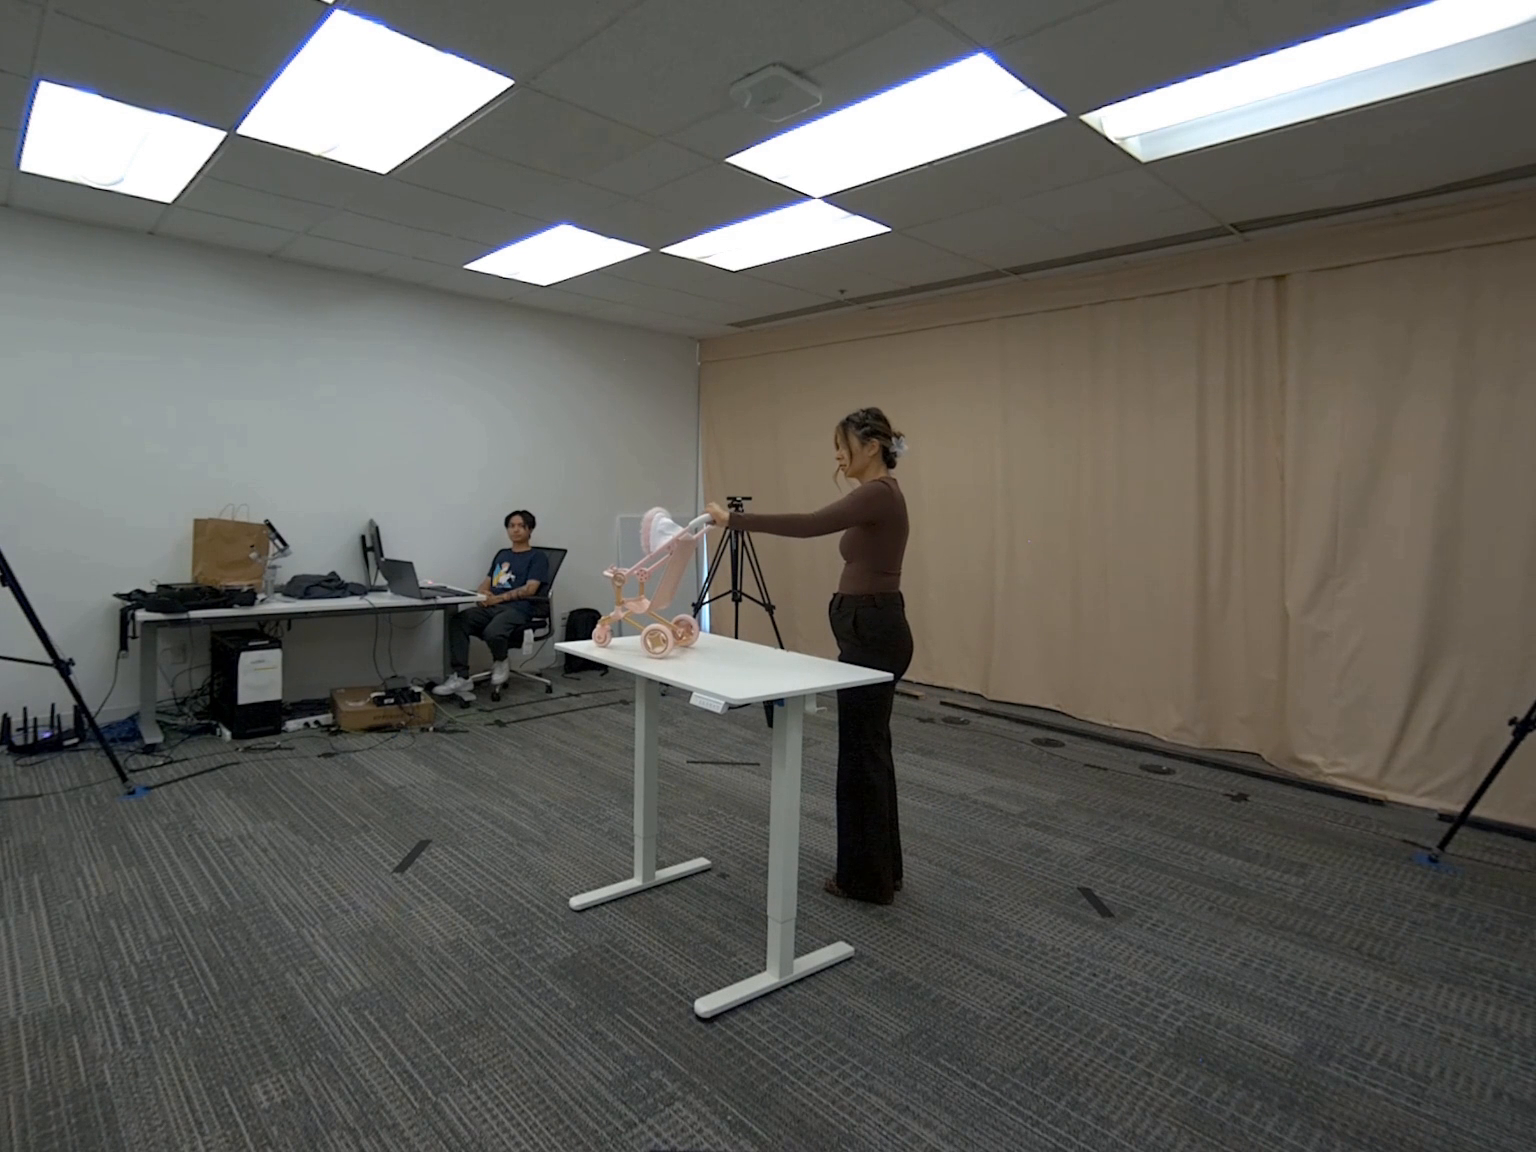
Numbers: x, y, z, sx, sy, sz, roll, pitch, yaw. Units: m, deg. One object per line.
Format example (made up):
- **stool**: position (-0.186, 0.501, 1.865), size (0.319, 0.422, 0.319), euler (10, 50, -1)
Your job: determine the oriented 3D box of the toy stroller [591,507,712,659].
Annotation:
- **toy stroller**: position (-0.393, 0.023, 2.770), size (0.348, 0.533, 0.277), euler (17, 7, 20)
